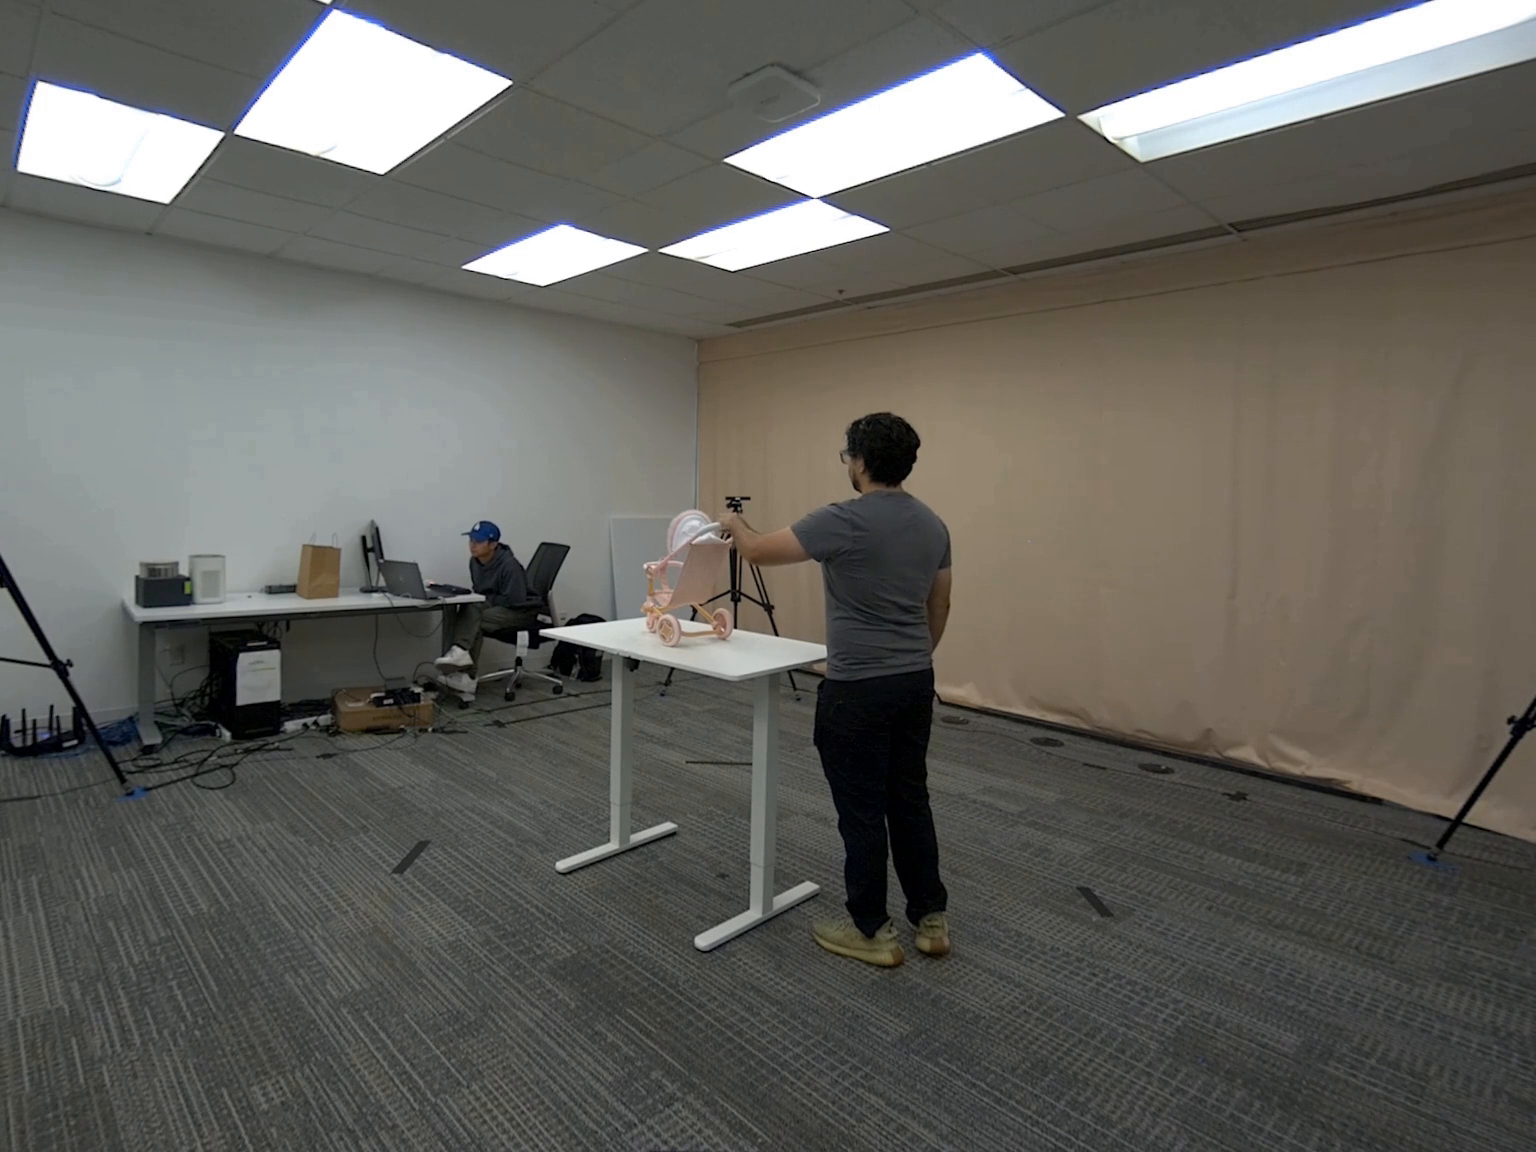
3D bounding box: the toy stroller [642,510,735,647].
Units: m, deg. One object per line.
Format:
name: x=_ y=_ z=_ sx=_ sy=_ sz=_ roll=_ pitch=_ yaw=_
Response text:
toy stroller: x=-0.294 y=0.006 z=2.985 sx=0.275 sy=0.530 sz=0.352 roll=0 pitch=20 yaw=-41
